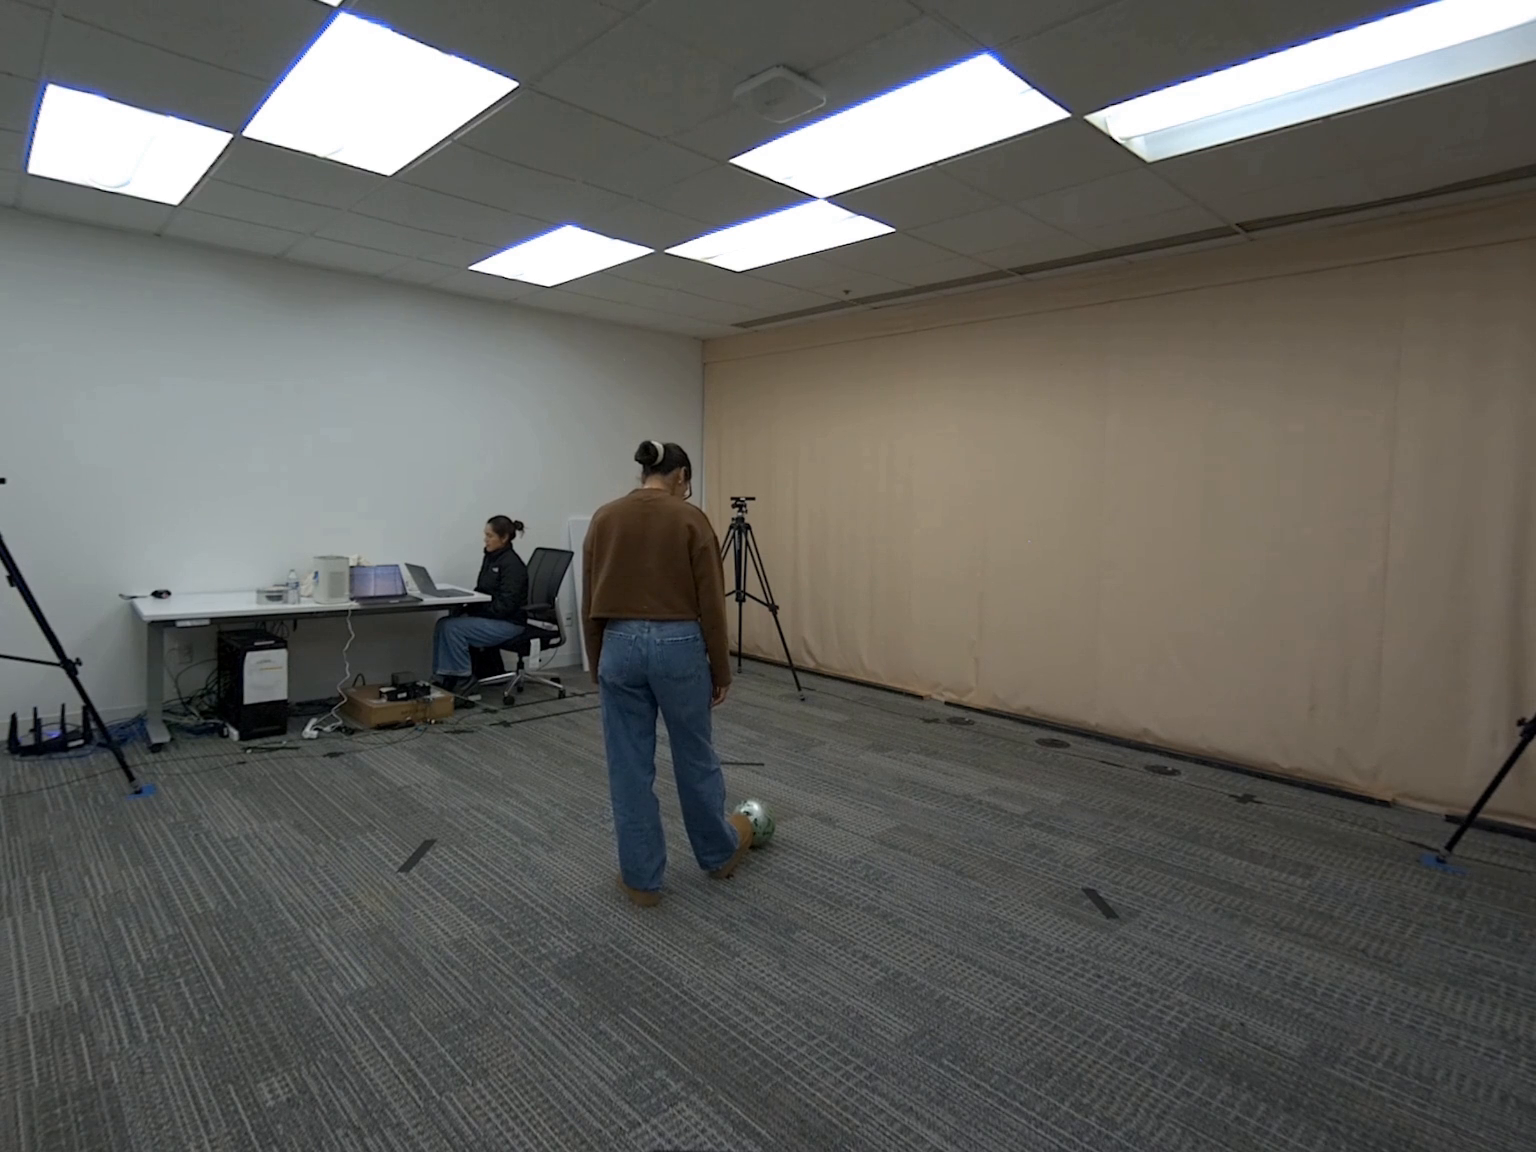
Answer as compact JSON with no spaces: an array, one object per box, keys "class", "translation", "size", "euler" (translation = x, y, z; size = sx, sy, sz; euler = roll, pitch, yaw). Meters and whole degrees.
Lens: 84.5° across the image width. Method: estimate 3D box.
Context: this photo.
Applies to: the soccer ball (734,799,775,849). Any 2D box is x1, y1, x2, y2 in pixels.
[{"class":"soccer ball","translation":[-0.067,0.995,3.385],"size":[0.187,0.187,0.188],"euler":[1,4,-1]}]
